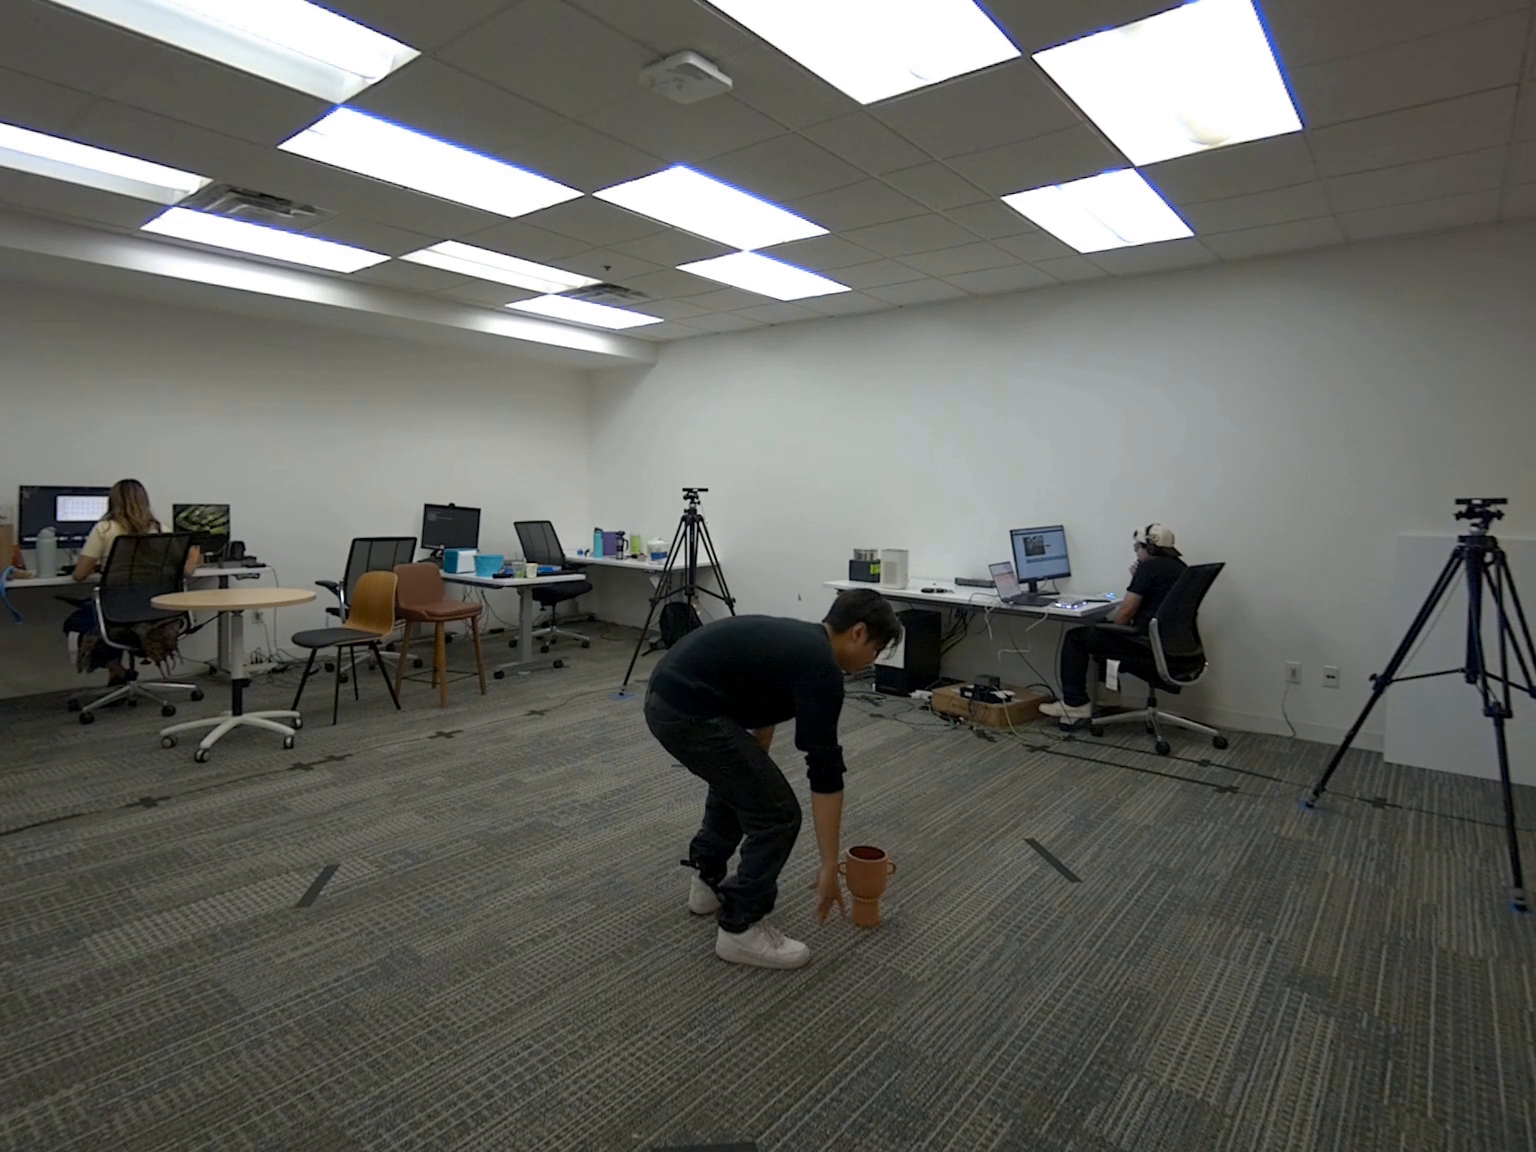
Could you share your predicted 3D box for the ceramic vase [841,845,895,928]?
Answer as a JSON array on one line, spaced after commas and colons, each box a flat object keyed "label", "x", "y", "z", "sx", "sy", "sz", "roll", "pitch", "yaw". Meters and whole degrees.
[{"label": "ceramic vase", "x": 0.320, "y": 1.006, "z": 2.765, "sx": 0.164, "sy": 0.219, "sz": 0.131, "roll": 5, "pitch": 5, "yaw": 36}]
